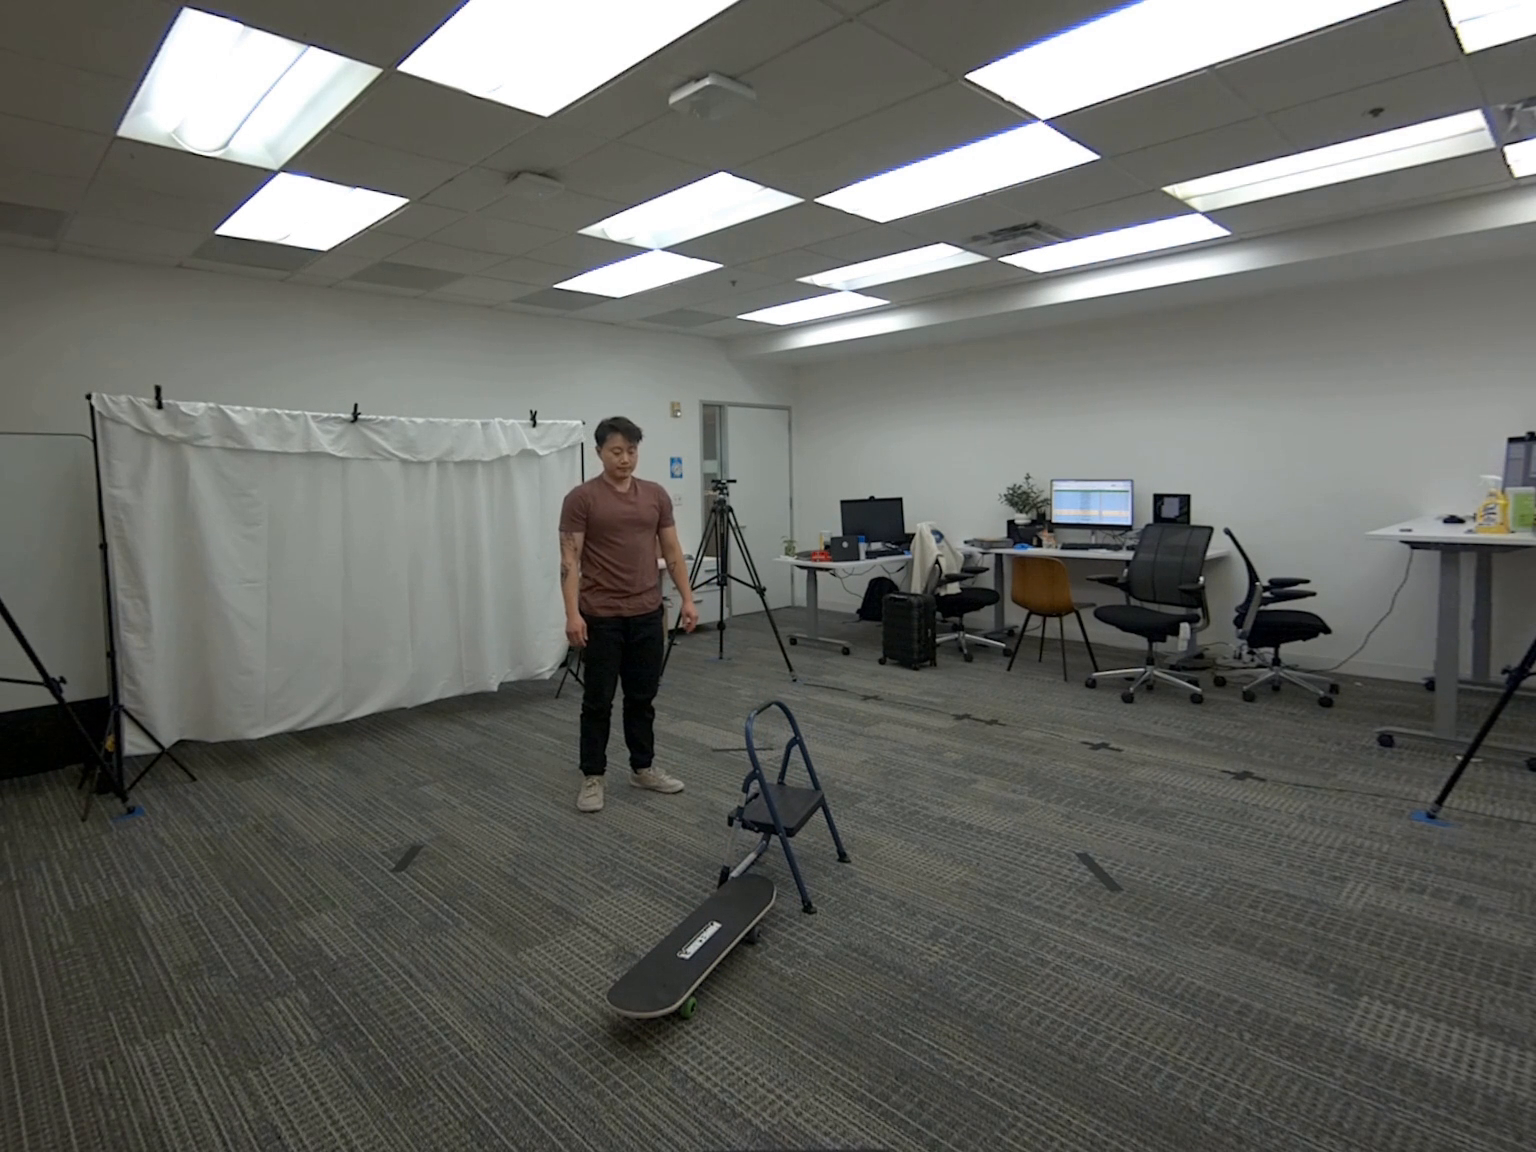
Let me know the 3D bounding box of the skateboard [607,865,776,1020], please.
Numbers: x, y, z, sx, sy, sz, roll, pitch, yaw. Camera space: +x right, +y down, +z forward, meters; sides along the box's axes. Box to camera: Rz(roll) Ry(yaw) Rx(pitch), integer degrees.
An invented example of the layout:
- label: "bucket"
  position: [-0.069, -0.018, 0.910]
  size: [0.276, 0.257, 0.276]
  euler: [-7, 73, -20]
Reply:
- label: "skateboard"
  position: [-0.187, 1.063, 2.455]
  size: [0.198, 0.110, 0.771]
  euler: [1, 8, 25]
